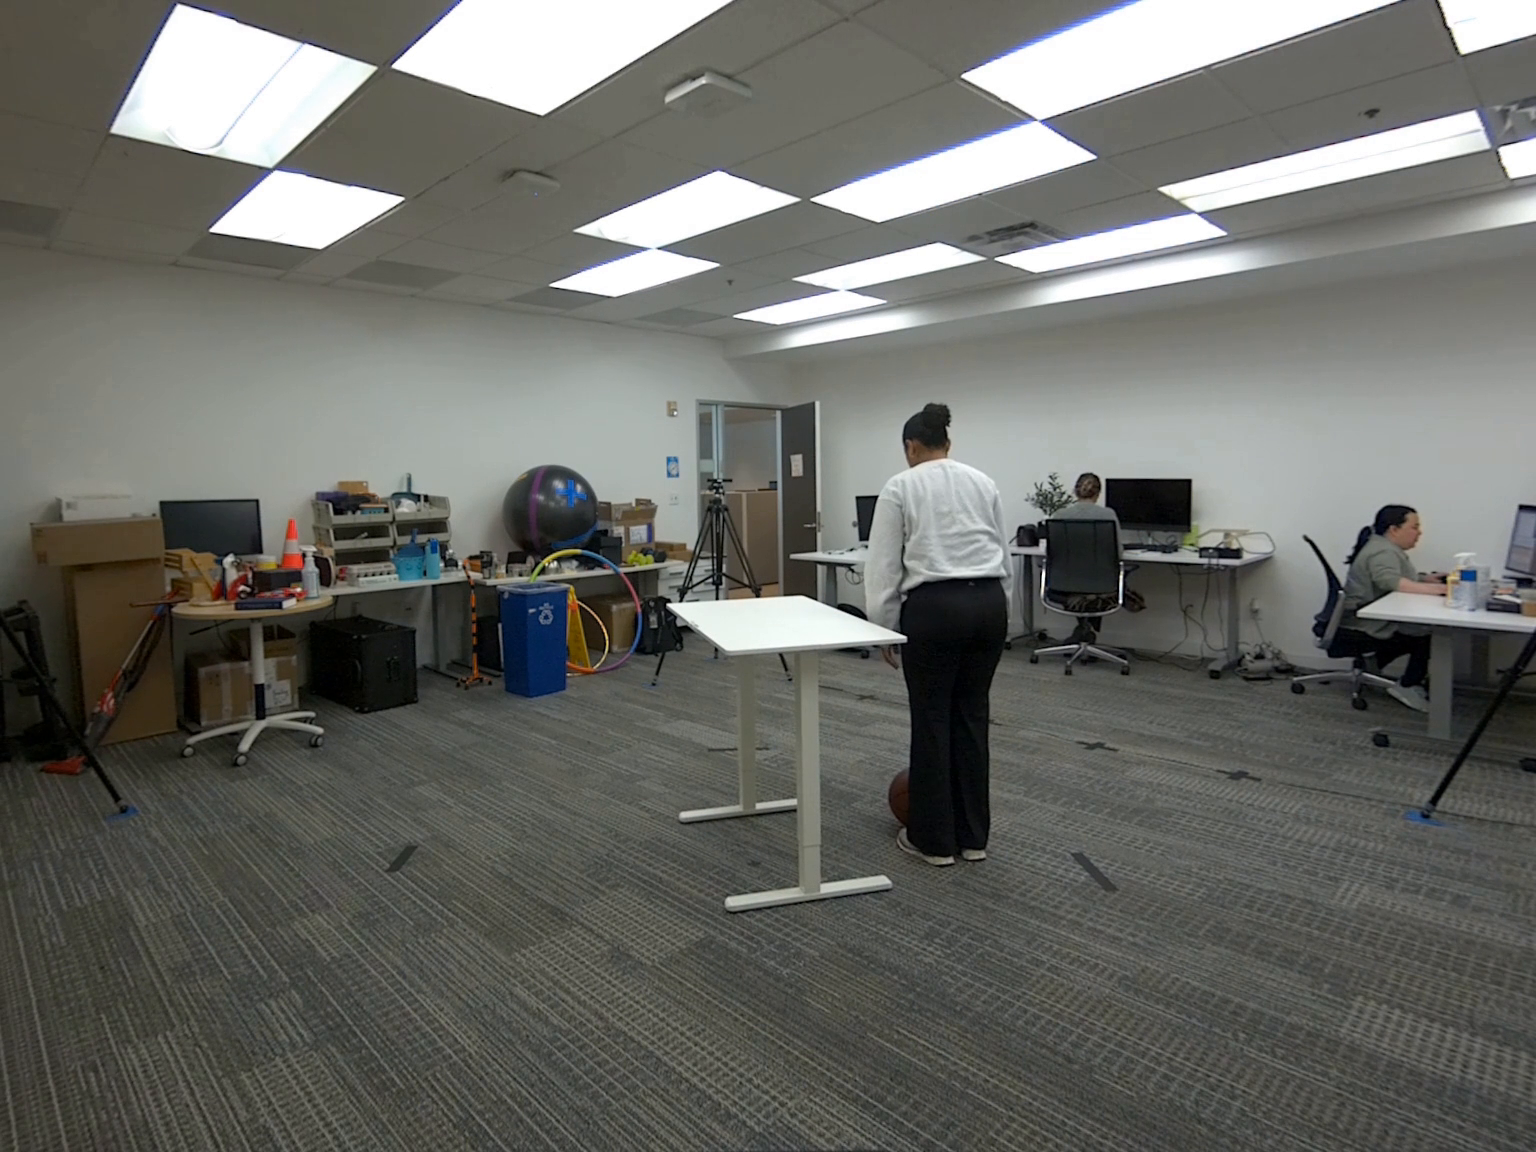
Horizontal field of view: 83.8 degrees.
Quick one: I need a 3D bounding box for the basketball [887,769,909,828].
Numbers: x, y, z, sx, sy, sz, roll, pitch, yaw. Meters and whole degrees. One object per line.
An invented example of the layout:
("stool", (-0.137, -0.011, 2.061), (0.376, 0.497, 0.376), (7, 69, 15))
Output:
("basketball", (0.606, 0.884, 3.394), (0.236, 0.235, 0.237), (-1, 5, -2))
